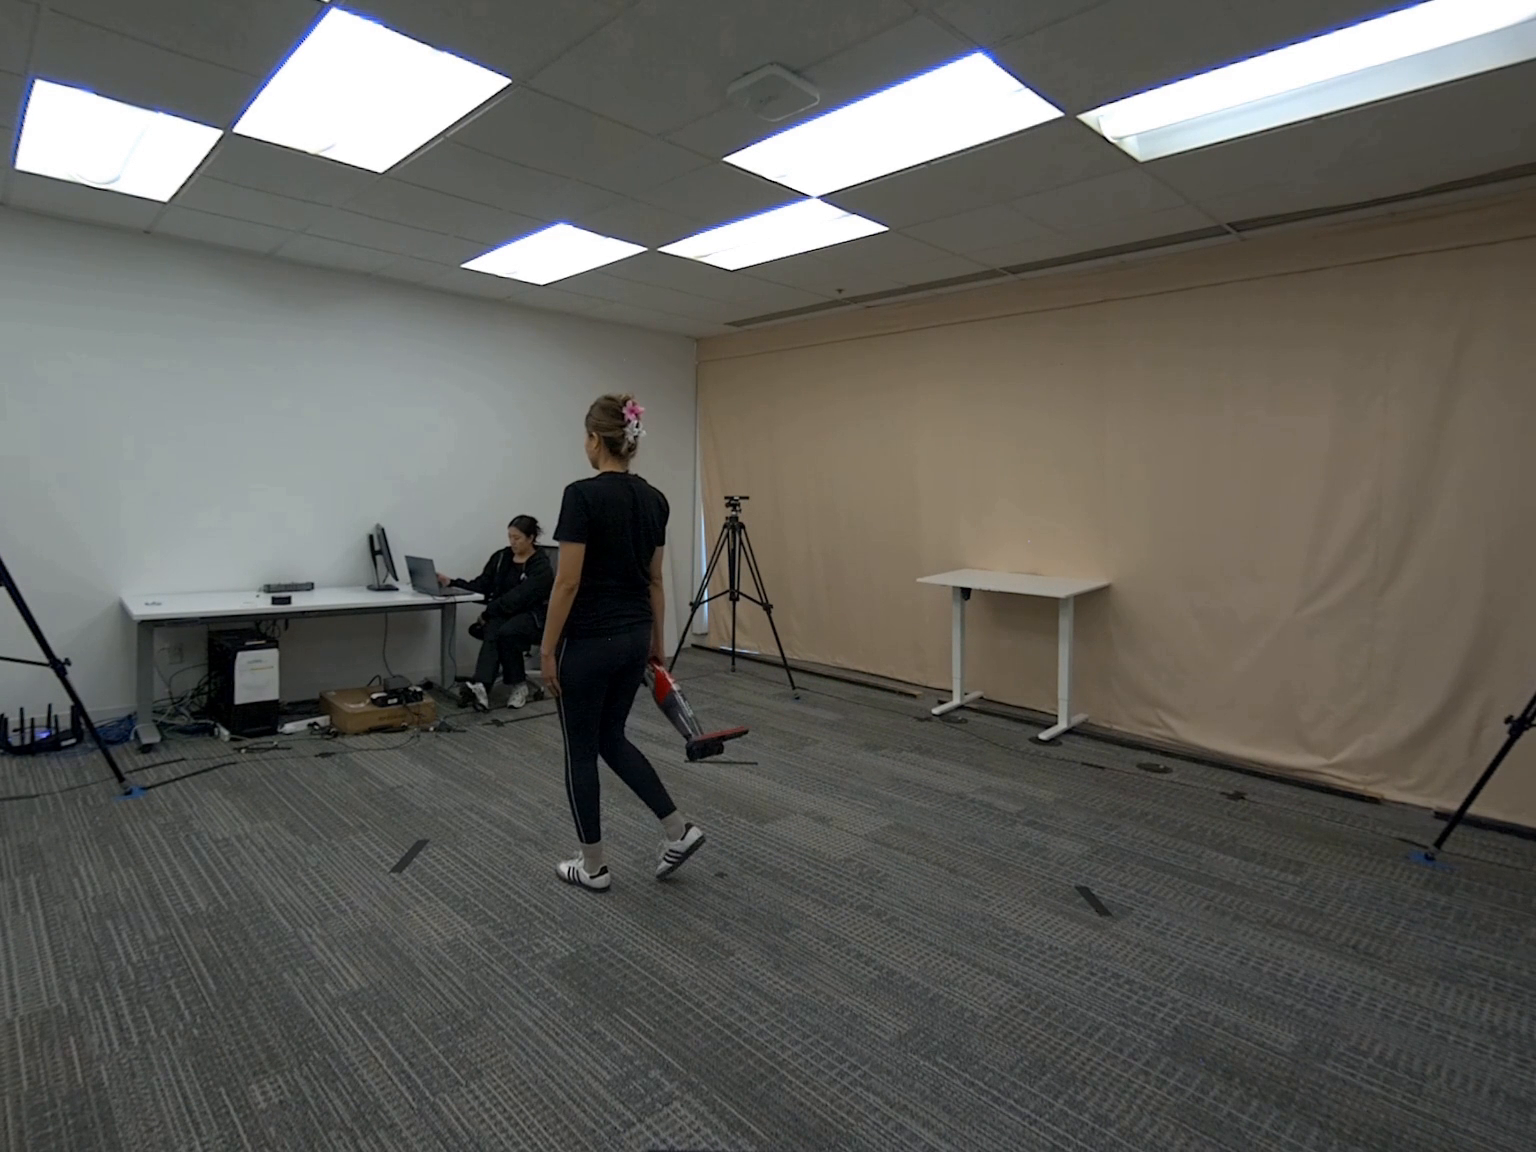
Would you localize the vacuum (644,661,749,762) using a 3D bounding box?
[{"bbox_3d":[-0.493,0.328,3.275,0.247,0.142,1.083,-5,34,-39],"label":"vacuum"}]
